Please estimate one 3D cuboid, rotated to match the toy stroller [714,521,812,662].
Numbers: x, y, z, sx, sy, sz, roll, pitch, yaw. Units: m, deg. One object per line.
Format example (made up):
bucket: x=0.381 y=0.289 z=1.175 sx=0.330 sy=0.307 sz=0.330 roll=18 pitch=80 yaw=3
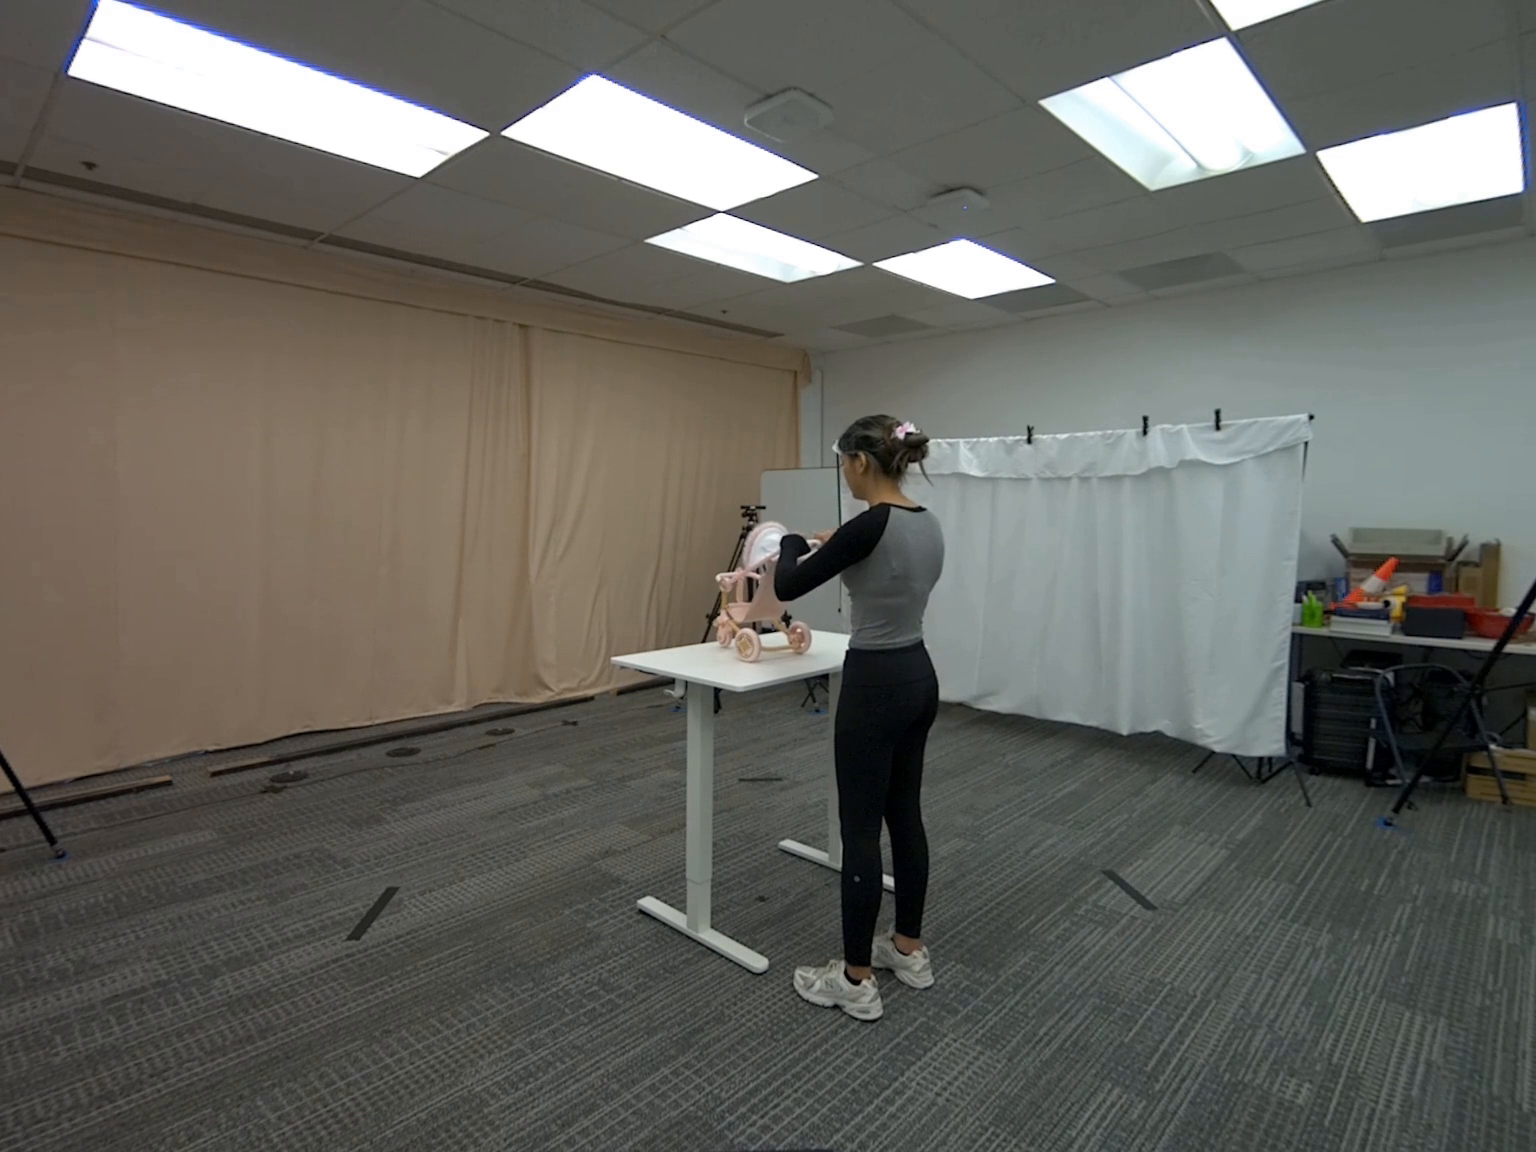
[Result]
toy stroller: x=-0.009 y=0.051 z=2.842 sx=0.273 sy=0.531 sz=0.354 roll=-2 pitch=23 yaw=-39
